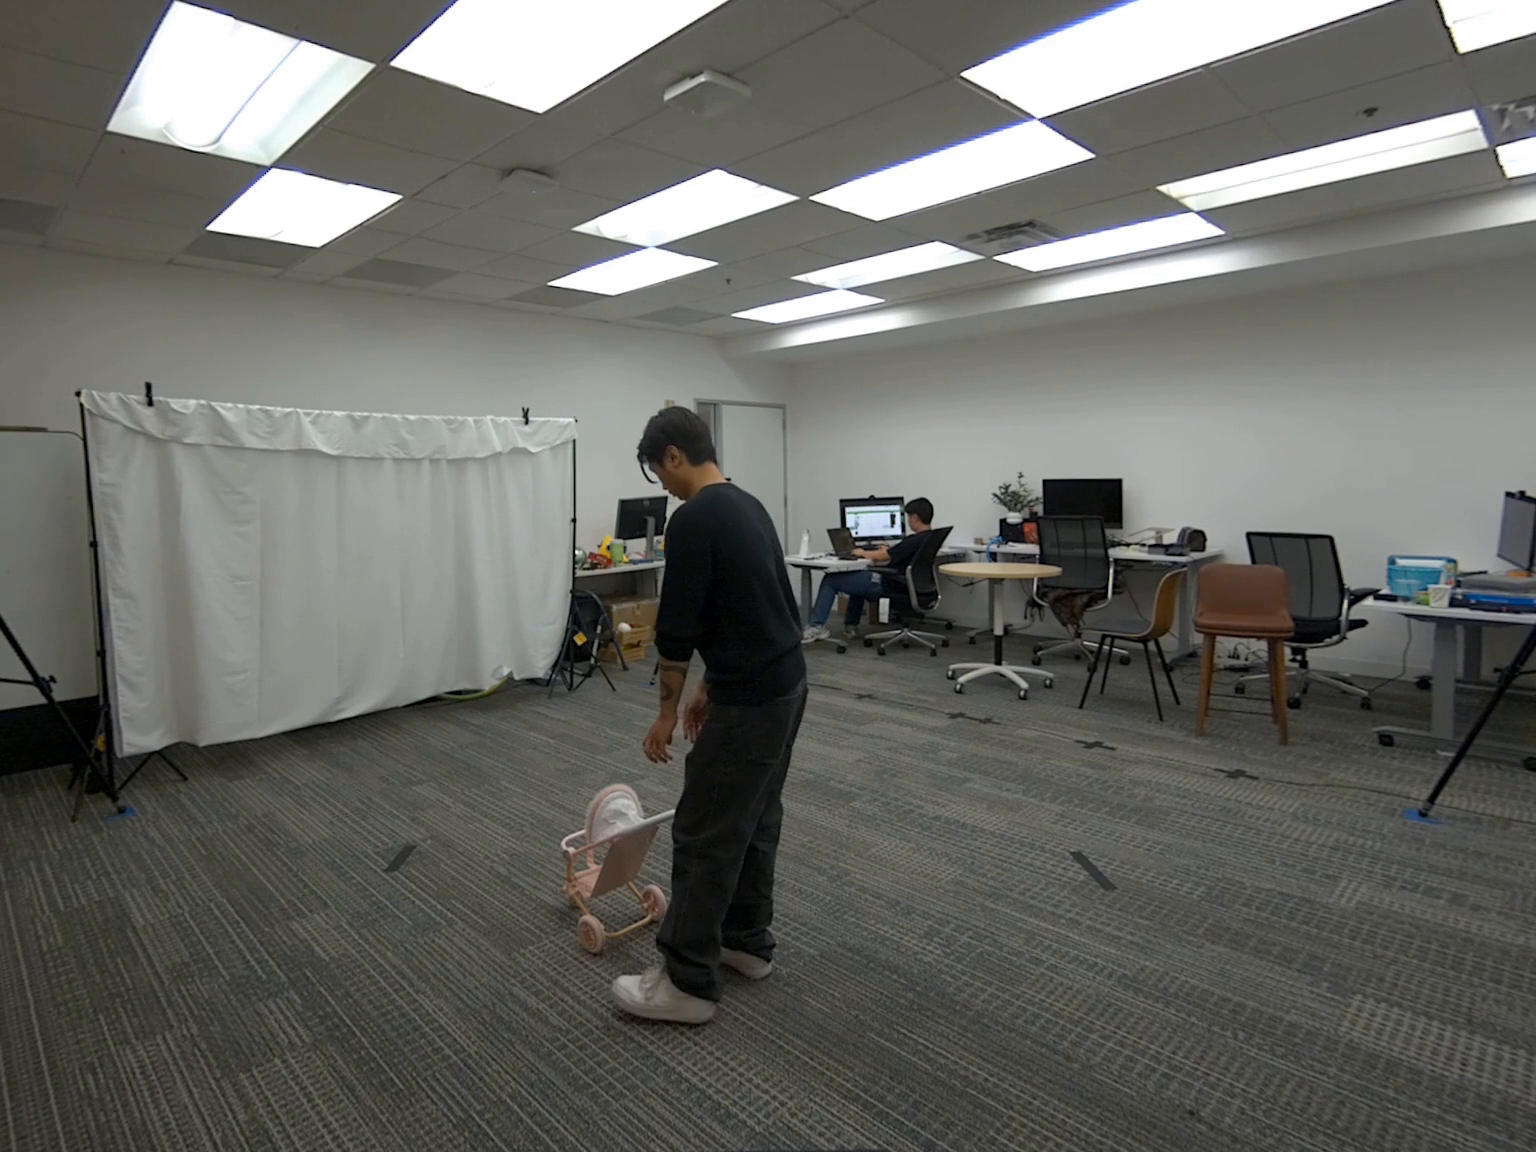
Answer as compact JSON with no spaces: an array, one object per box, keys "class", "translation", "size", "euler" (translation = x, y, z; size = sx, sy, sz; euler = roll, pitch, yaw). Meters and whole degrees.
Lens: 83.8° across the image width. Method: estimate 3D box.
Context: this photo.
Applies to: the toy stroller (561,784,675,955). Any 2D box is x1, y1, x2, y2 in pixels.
[{"class":"toy stroller","translation":[-0.487,0.883,2.659],"size":[0.274,0.529,0.355],"euler":[-4,24,-42]}]
